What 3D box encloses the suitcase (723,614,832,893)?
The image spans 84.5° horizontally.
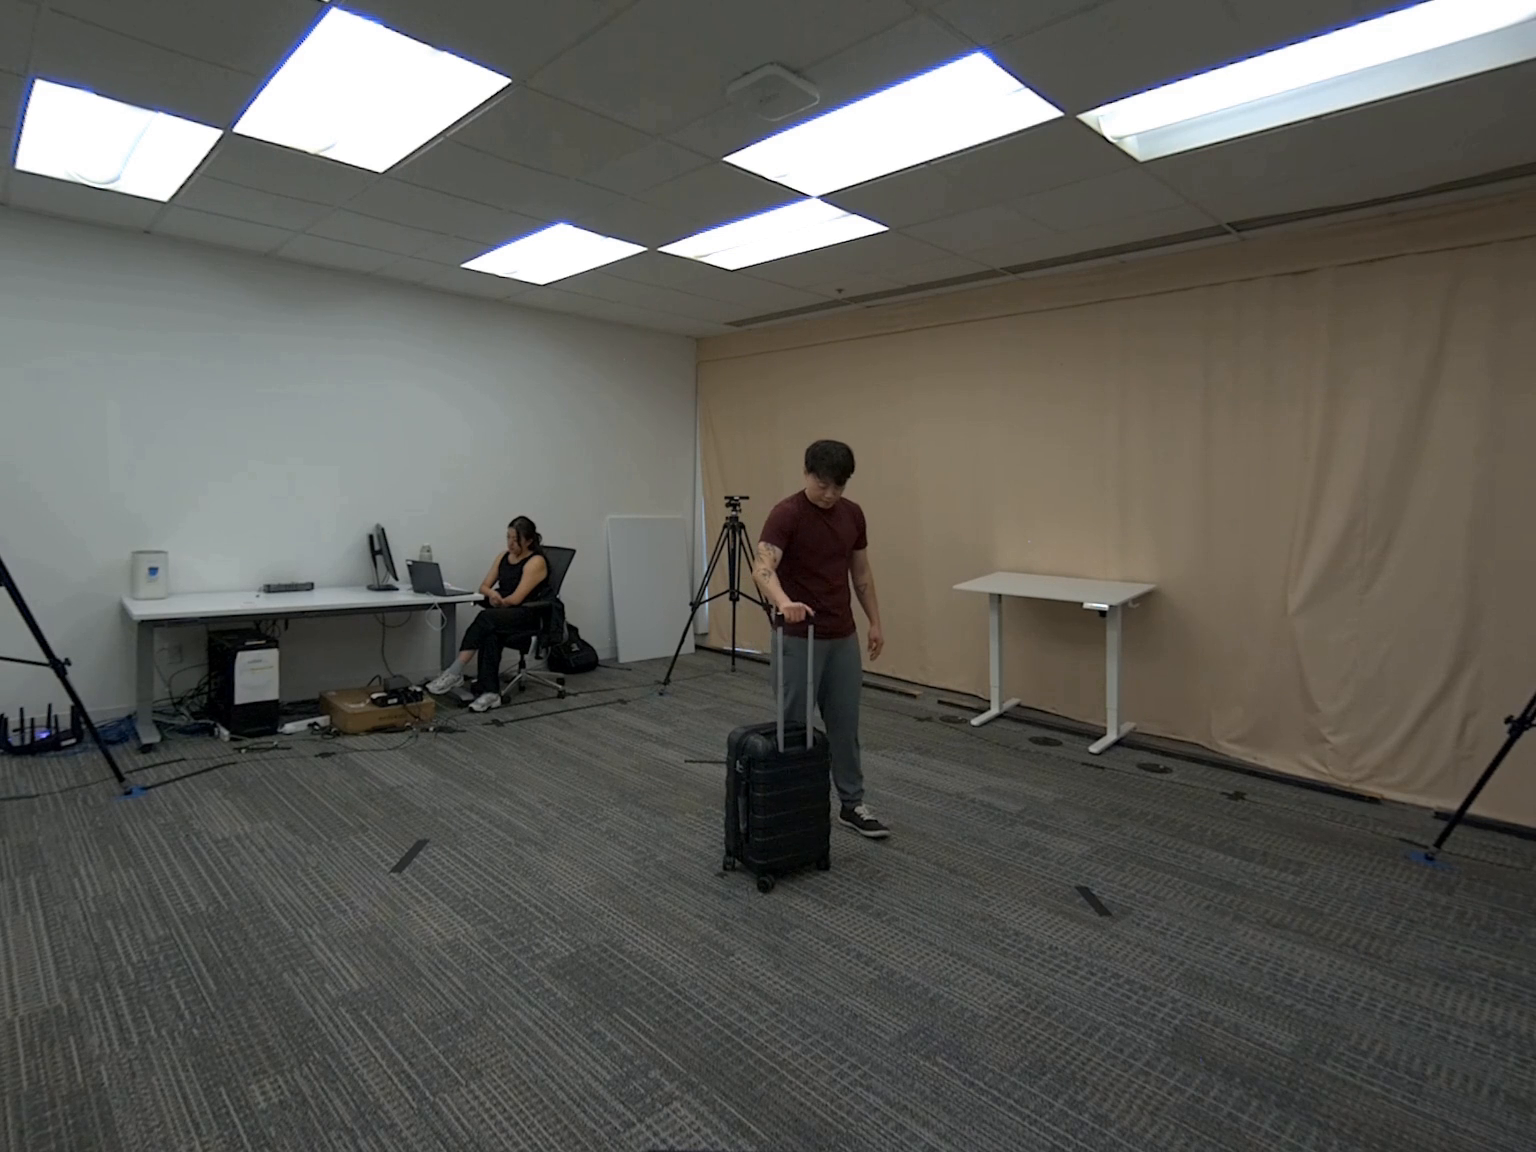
[{"bbox_3d":[0.025,0.627,3.141,0.376,0.978,0.263,-1,1,-33],"label":"suitcase"}]
